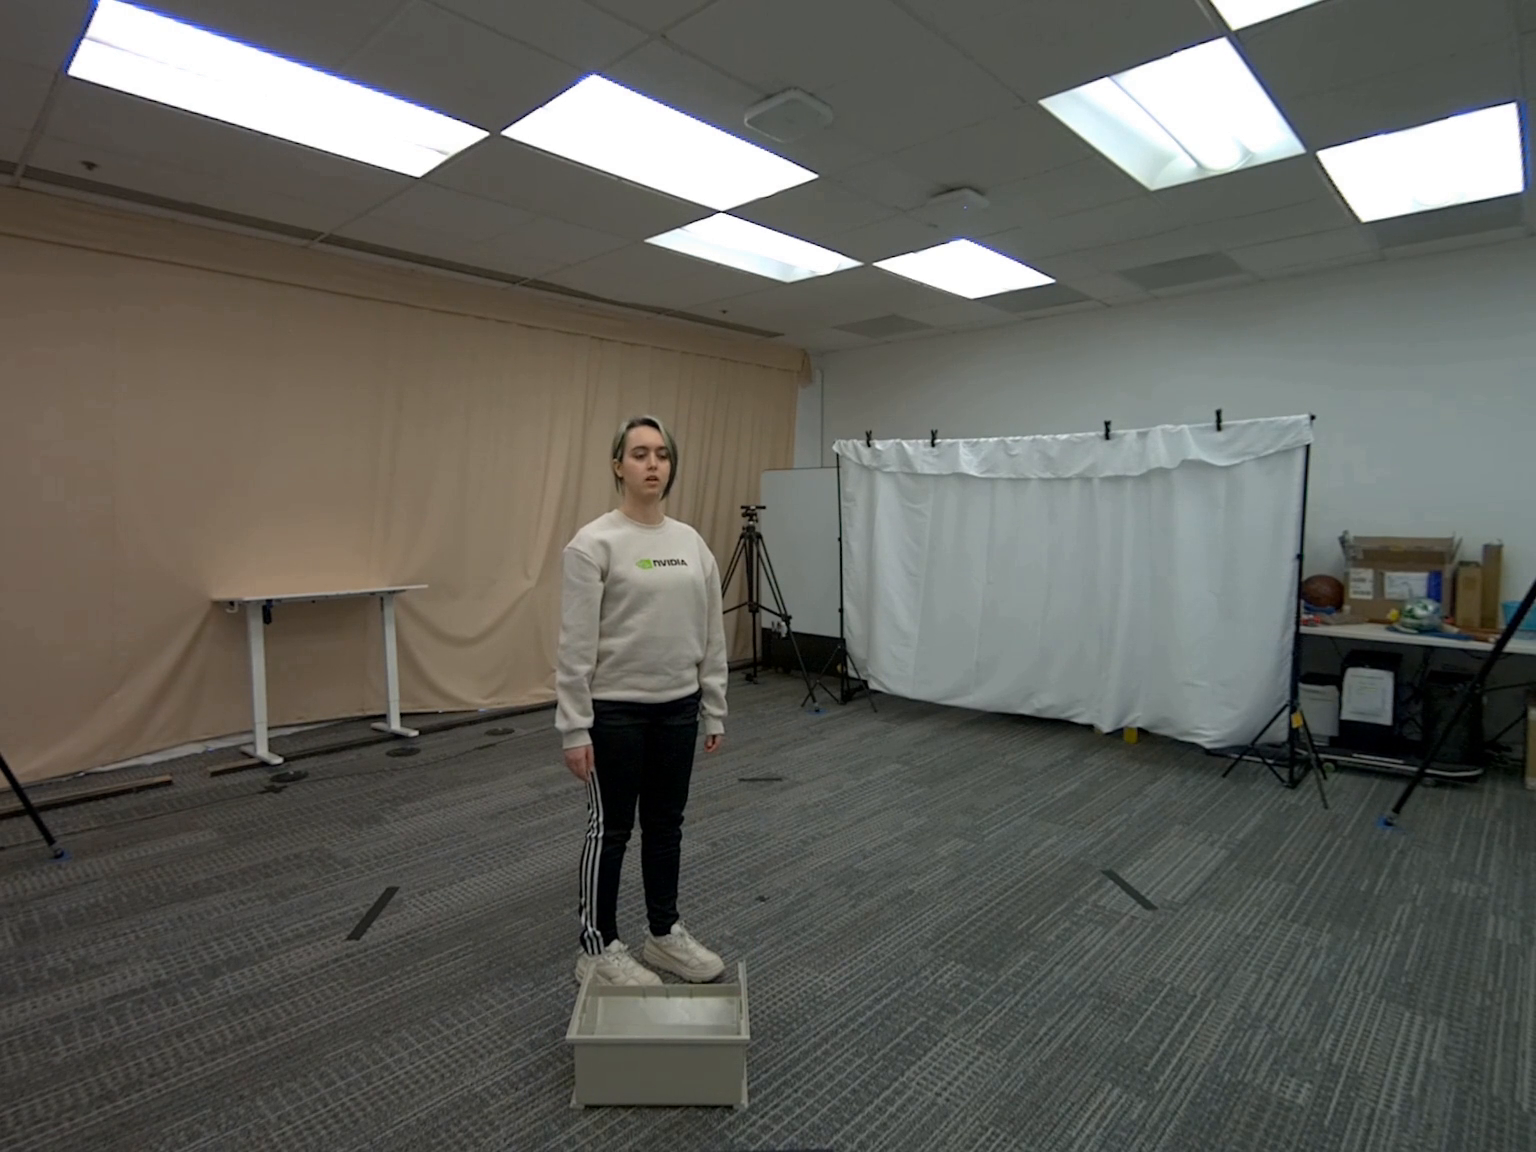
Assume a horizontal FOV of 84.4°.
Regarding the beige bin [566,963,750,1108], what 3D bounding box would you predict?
[{"bbox_3d":[-0.262,1.128,2.112,0.422,0.188,0.379,0,4,-2],"label":"beige bin"}]
